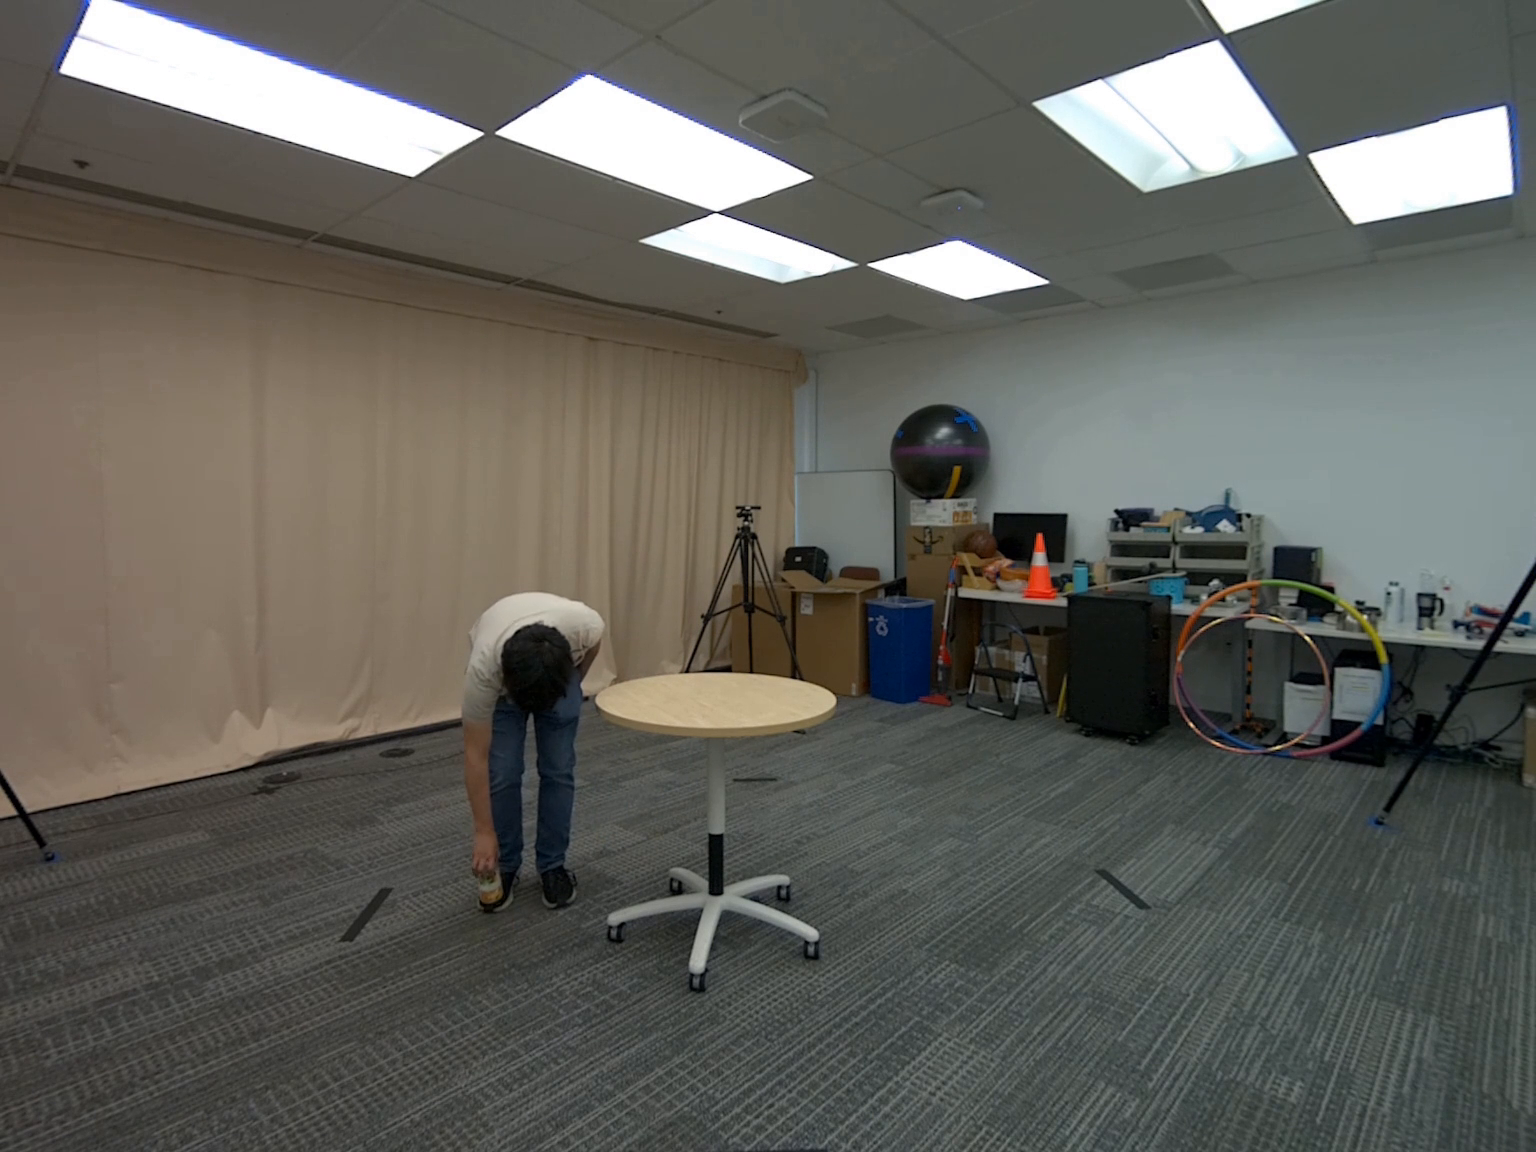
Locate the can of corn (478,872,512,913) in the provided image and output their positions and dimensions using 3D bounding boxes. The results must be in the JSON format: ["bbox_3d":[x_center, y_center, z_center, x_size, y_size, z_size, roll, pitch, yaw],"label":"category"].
[{"bbox_3d":[-0.916,0.996,2.756,0.074,0.110,0.075,-6,13,0],"label":"can of corn"}]
